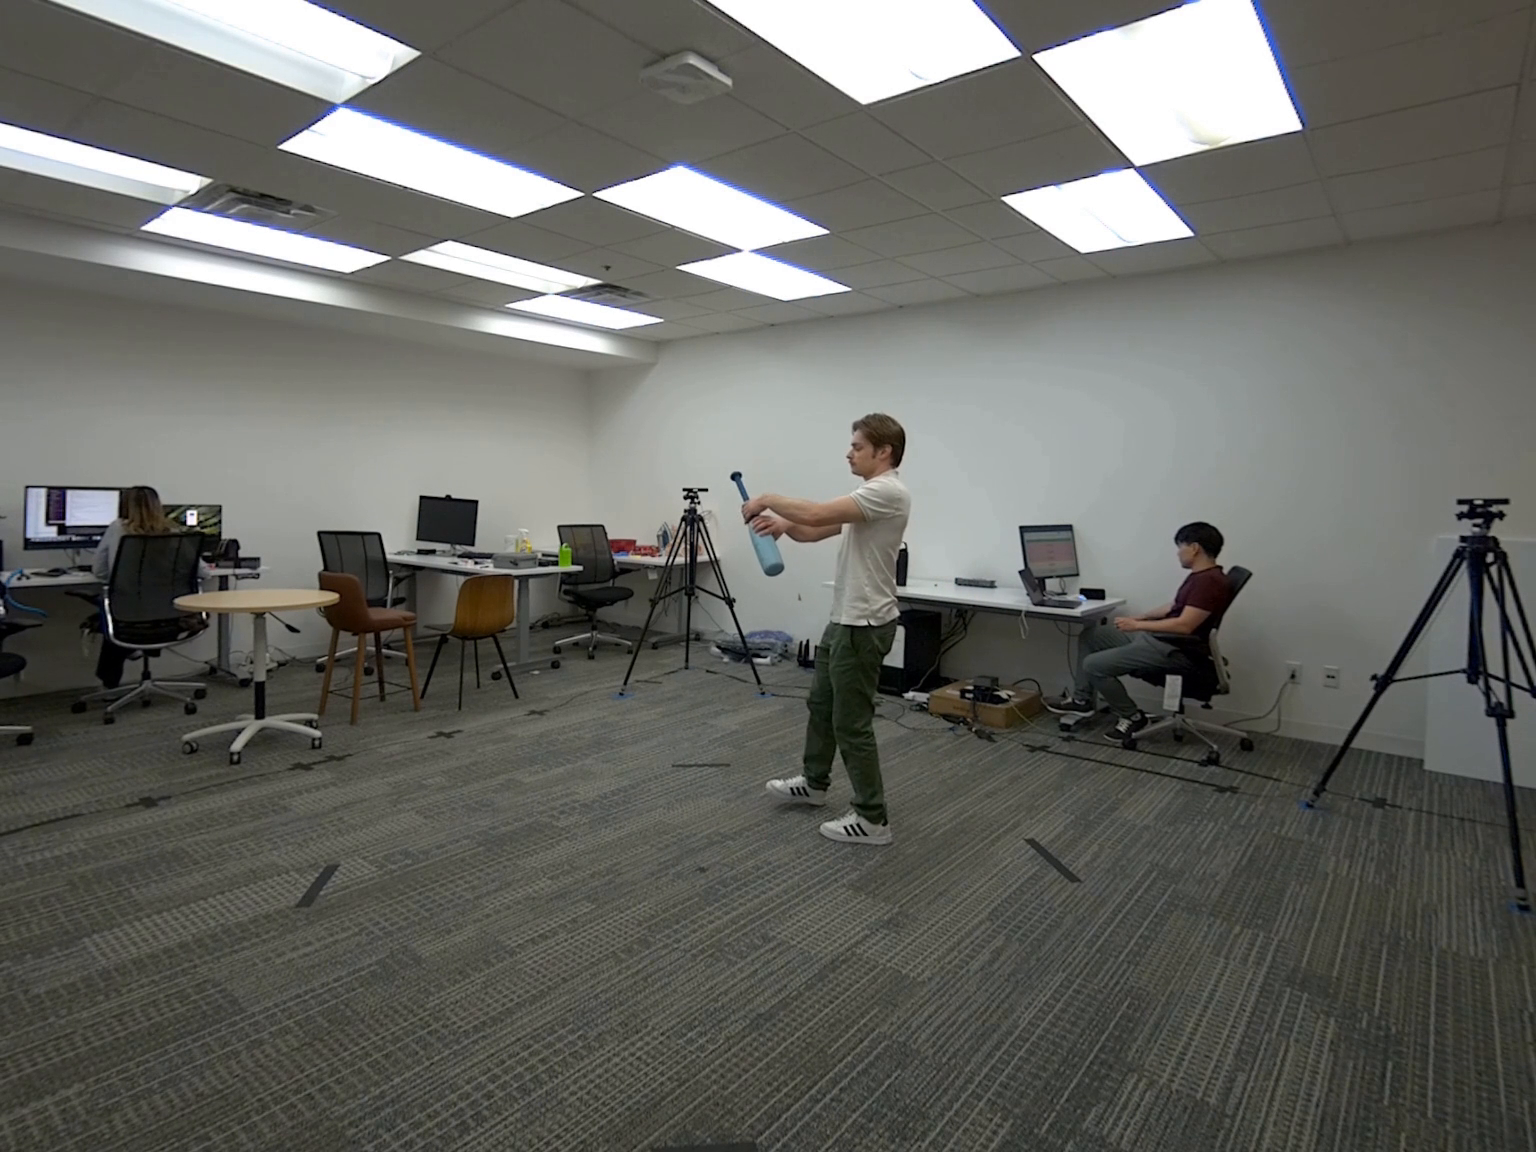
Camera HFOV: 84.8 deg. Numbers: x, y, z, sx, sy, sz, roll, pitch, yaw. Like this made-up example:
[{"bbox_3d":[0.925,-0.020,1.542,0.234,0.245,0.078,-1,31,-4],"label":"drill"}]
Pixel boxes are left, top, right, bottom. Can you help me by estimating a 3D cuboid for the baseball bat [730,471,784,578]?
[{"bbox_3d":[-0.065,-0.231,3.464,0.088,0.563,0.086,-13,-38,-12],"label":"baseball bat"}]
